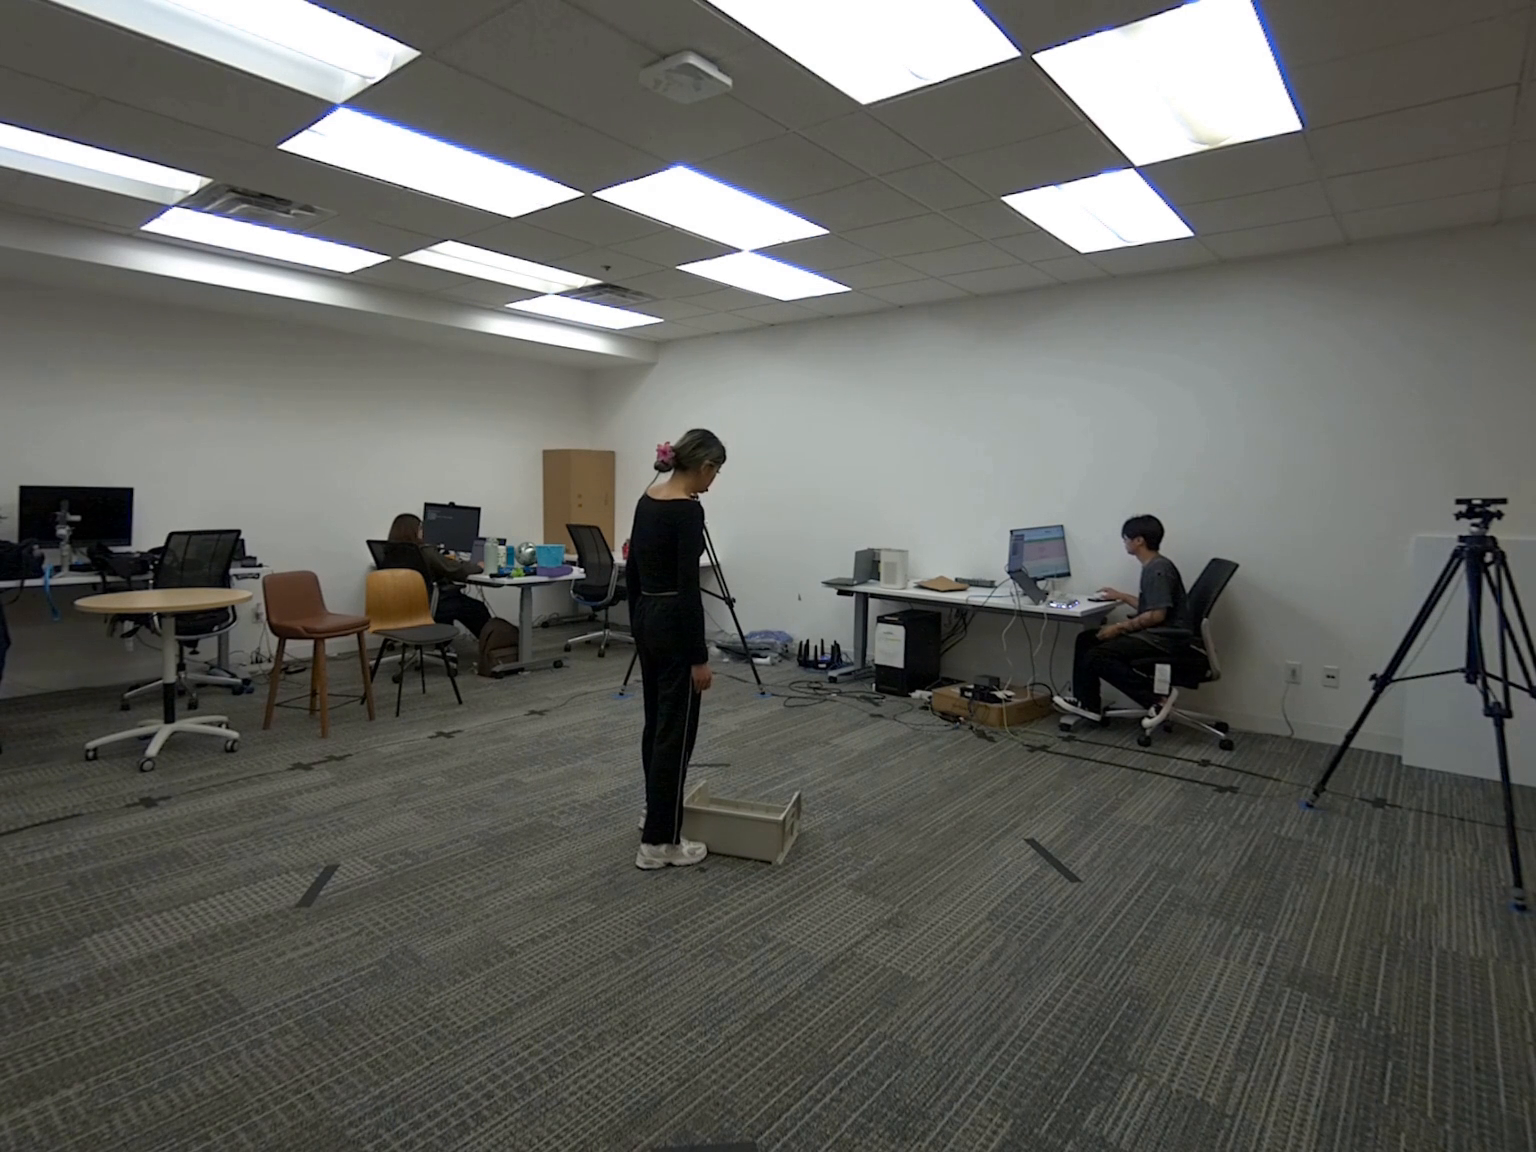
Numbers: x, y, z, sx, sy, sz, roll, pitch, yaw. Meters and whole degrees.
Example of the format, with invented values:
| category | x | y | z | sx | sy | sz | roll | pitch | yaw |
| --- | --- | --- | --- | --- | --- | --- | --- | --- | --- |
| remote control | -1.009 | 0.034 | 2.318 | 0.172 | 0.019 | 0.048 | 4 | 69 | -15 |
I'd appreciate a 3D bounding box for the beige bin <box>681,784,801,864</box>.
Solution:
| category | x | y | z | sx | sy | sz | roll | pitch | yaw |
| --- | --- | --- | --- | --- | --- | --- | --- | --- | --- |
| beige bin | -0.117 | 0.960 | 3.380 | 0.430 | 0.188 | 0.372 | 3 | 6 | 16 |
